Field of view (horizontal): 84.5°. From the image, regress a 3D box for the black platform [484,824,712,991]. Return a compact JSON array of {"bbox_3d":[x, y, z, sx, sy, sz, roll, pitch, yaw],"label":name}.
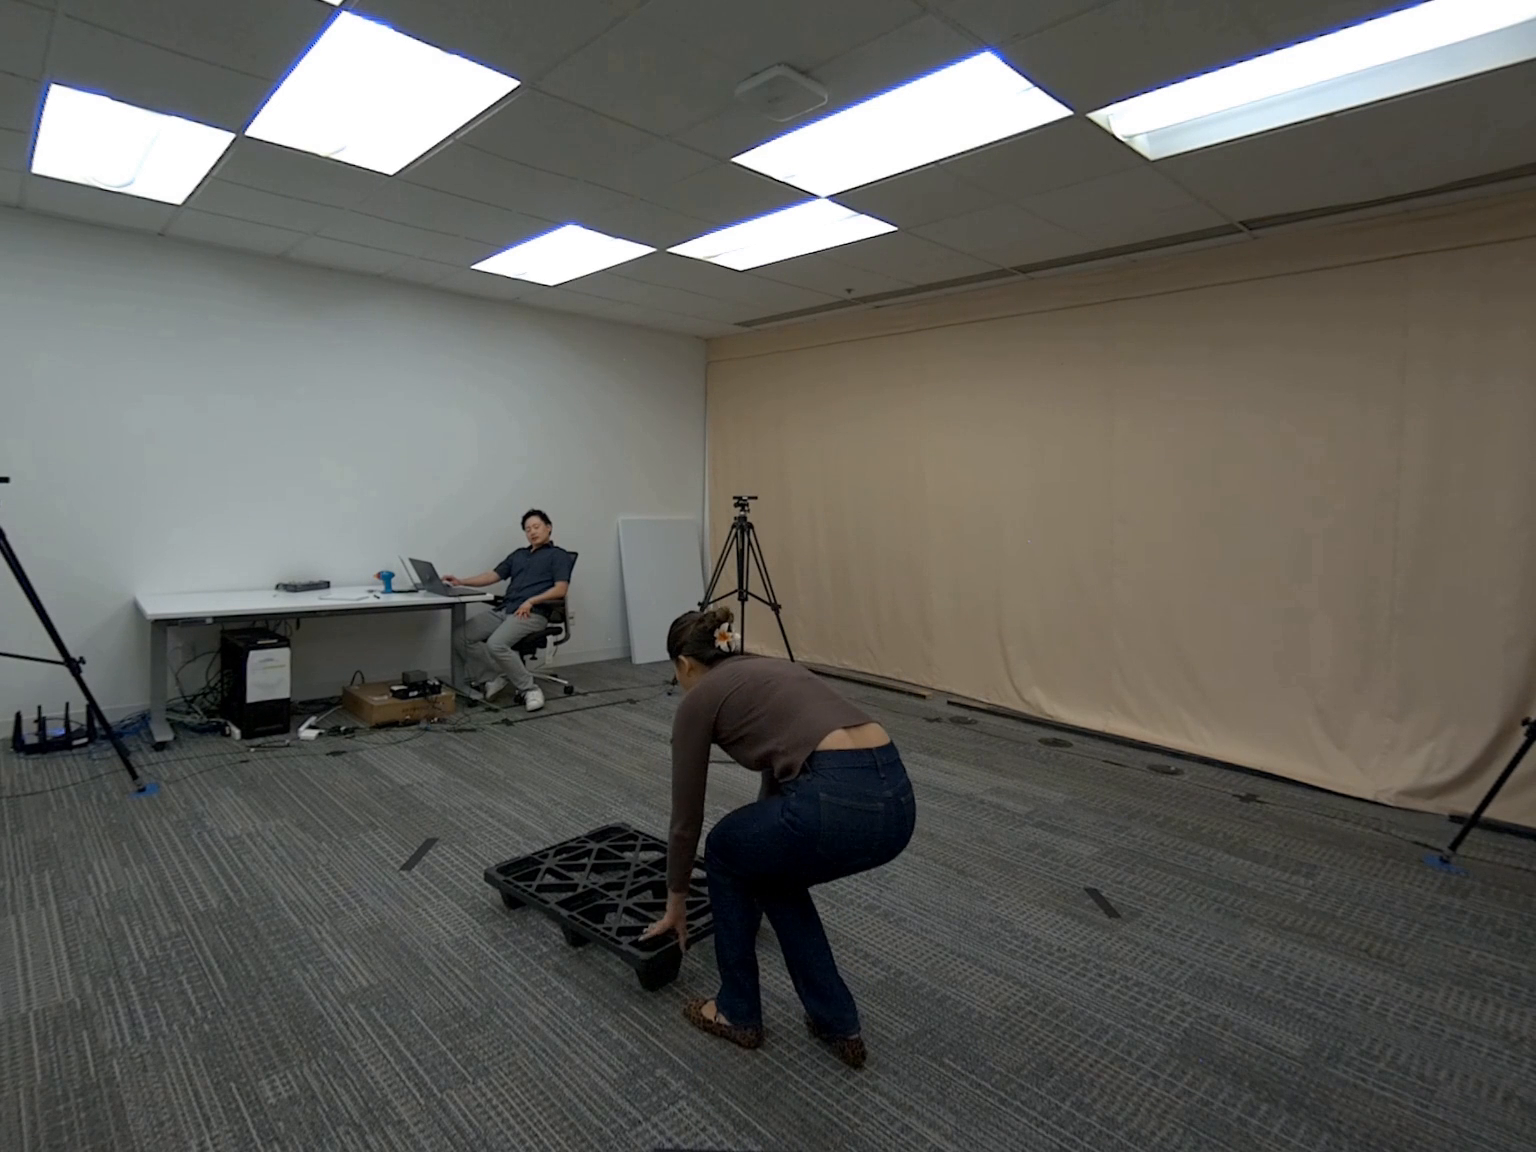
[{"bbox_3d":[-0.462,1.060,2.762,0.826,0.143,0.592,5,7,40],"label":"black platform"}]
